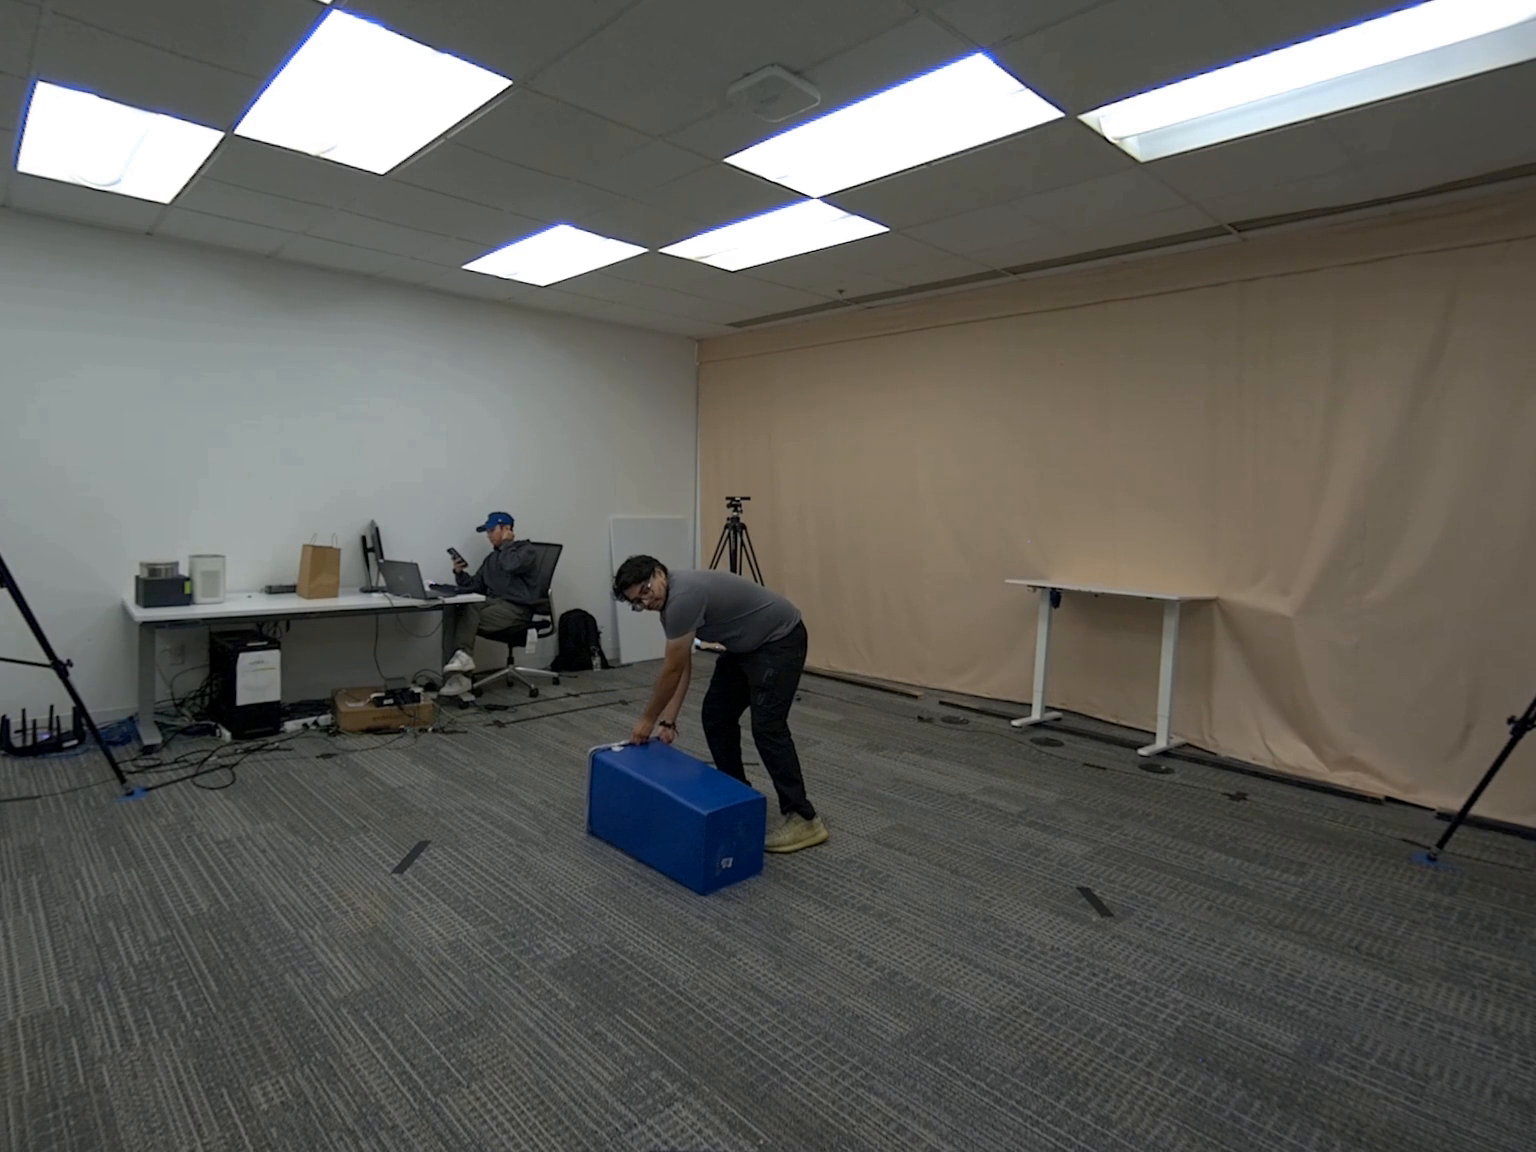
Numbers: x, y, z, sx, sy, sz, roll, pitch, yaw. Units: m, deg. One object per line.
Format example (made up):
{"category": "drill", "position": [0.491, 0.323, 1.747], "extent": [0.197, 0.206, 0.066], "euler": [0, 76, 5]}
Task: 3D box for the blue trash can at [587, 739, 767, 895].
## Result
{"category": "blue trash can", "position": [-0.376, 0.919, 3.268], "extent": [0.365, 0.377, 0.733], "euler": [-2, 7, -42]}
